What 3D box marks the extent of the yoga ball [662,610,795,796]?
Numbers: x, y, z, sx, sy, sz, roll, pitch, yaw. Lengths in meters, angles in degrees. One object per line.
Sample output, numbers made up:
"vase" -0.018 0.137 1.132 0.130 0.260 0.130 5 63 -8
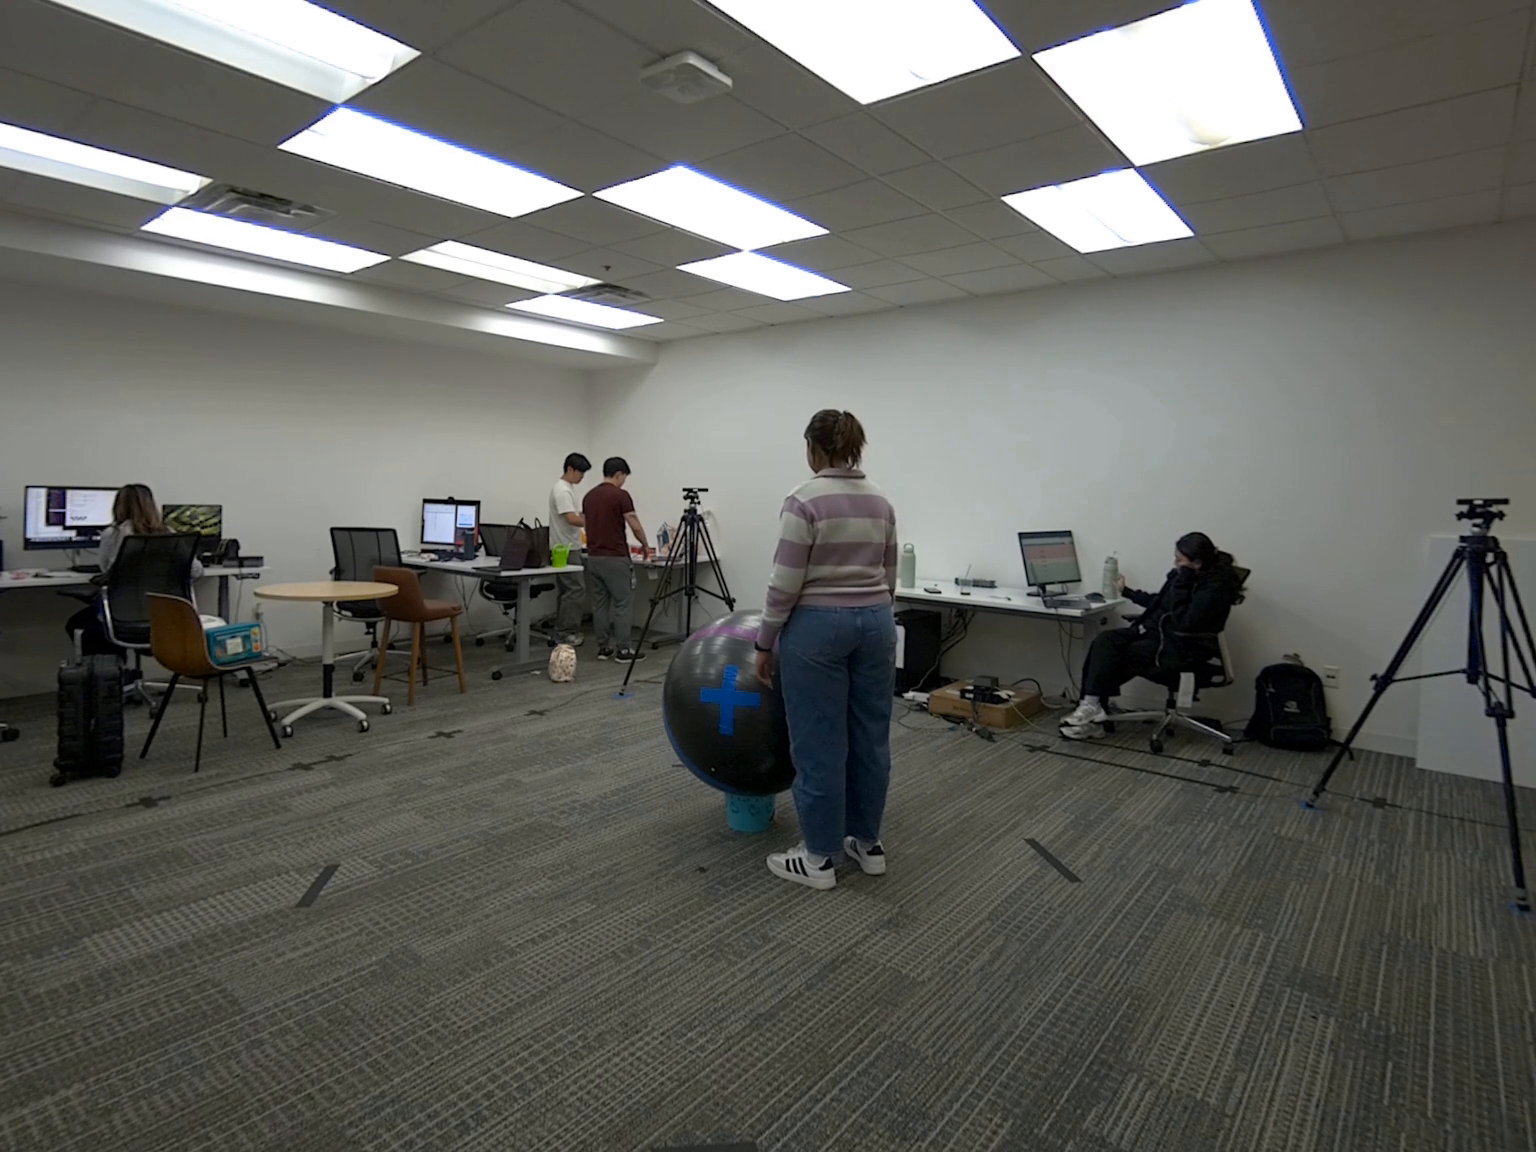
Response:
"yoga ball" -0.075 0.521 3.538 0.757 0.756 0.761 1 4 -2
